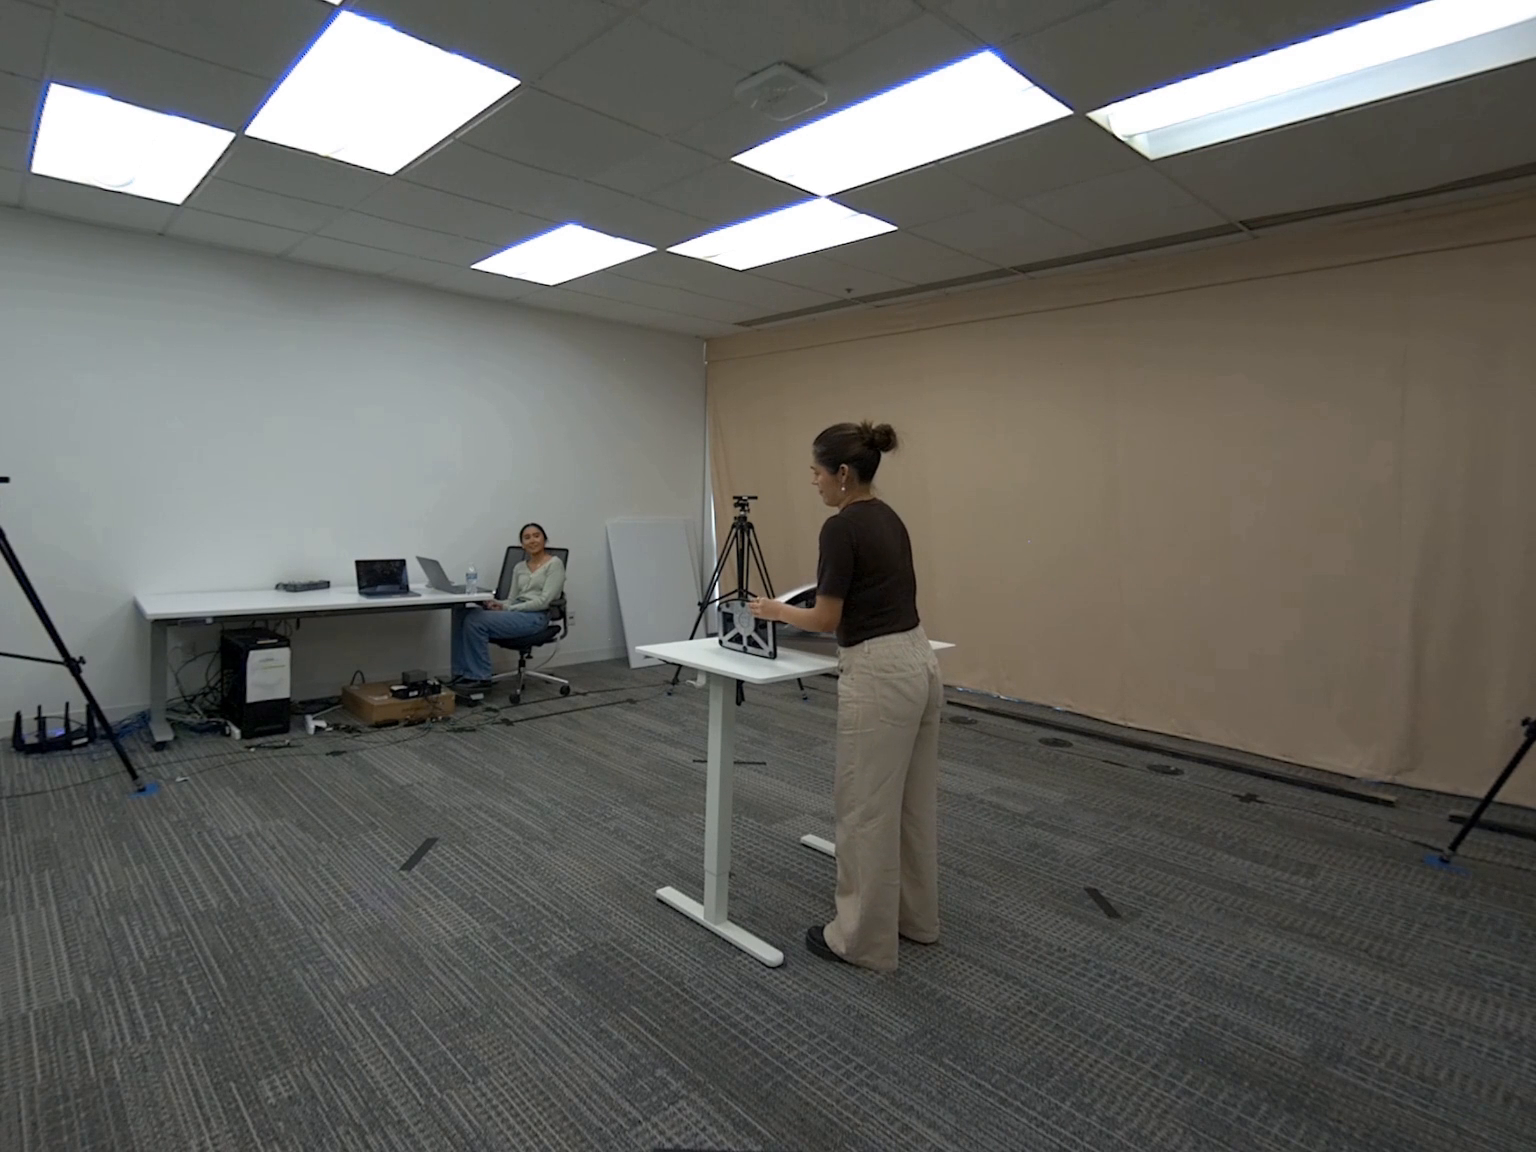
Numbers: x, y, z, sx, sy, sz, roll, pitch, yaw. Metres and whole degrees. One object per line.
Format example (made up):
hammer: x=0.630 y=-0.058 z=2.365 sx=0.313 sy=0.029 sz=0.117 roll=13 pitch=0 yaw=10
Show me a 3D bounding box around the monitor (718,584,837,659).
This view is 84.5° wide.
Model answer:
monitor: x=0.096 y=0.120 z=2.885 sx=0.513 sy=0.186 sz=0.552 roll=-13 pitch=11 yaw=-38
